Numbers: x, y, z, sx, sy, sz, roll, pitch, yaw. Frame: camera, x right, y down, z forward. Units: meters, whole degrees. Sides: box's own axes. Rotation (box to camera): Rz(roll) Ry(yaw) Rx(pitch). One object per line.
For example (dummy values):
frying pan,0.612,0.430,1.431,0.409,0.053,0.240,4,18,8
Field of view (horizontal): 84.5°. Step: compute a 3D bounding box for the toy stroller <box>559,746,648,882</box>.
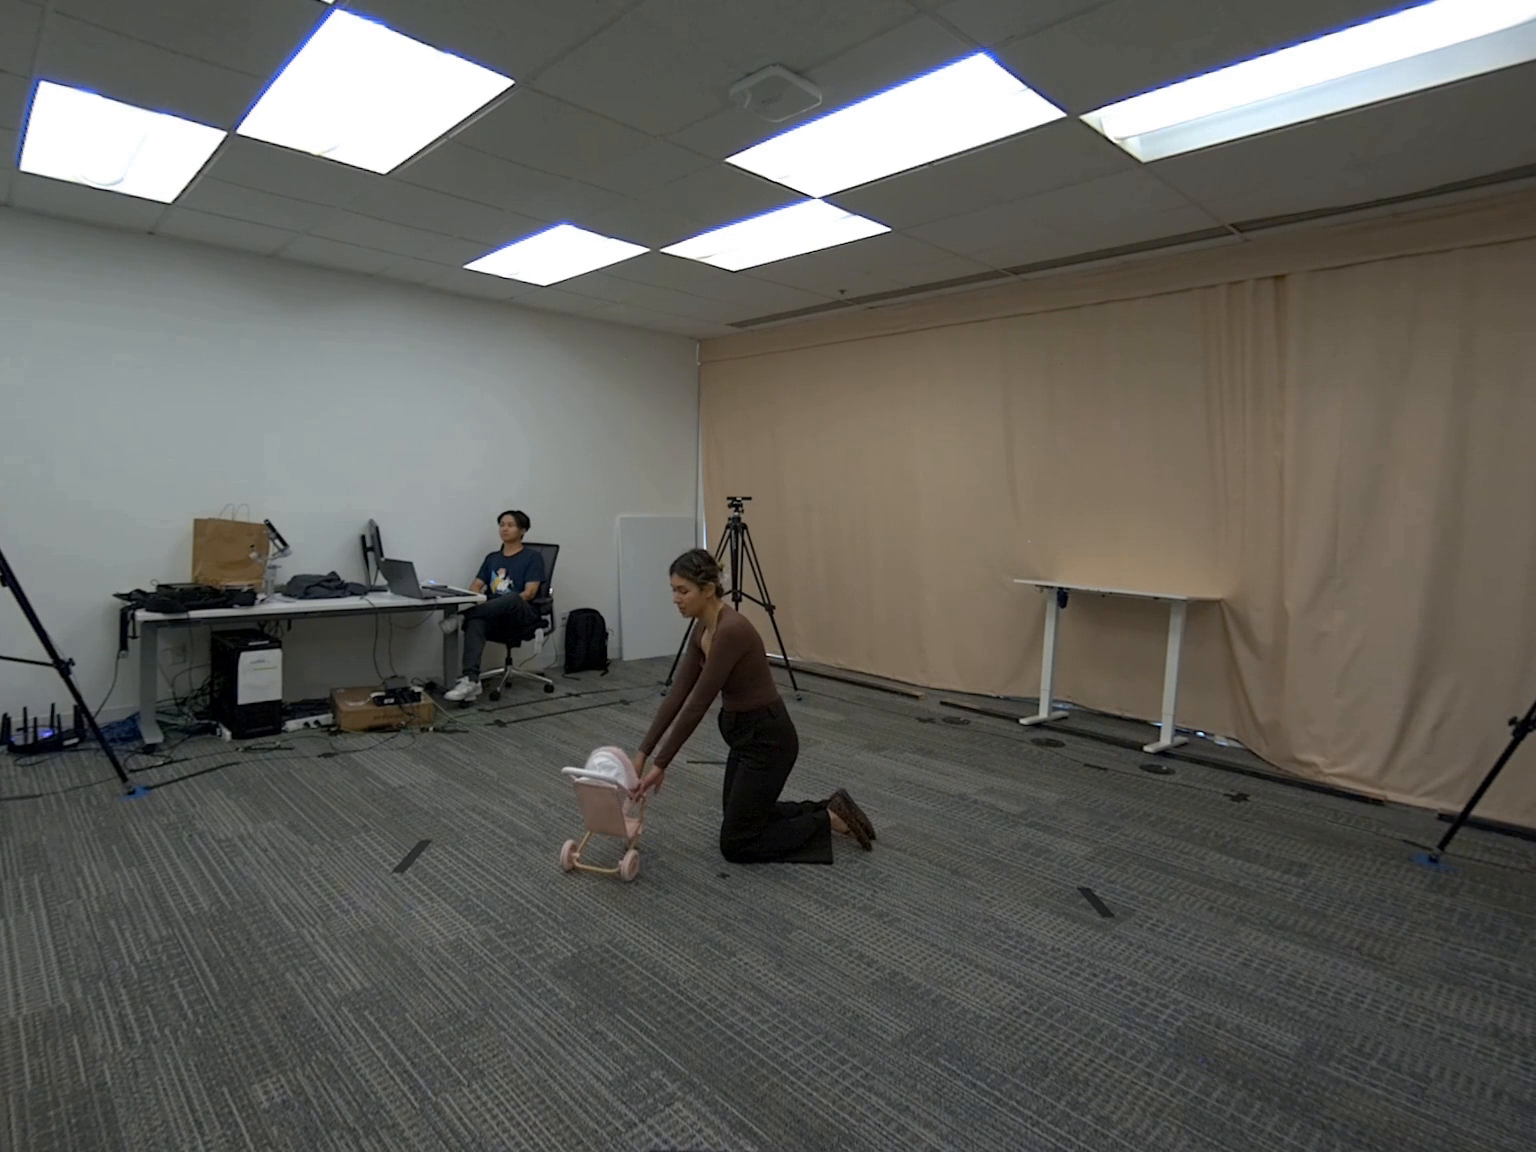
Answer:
toy stroller,-0.590,0.863,3.137,0.286,0.528,0.340,4,19,20
